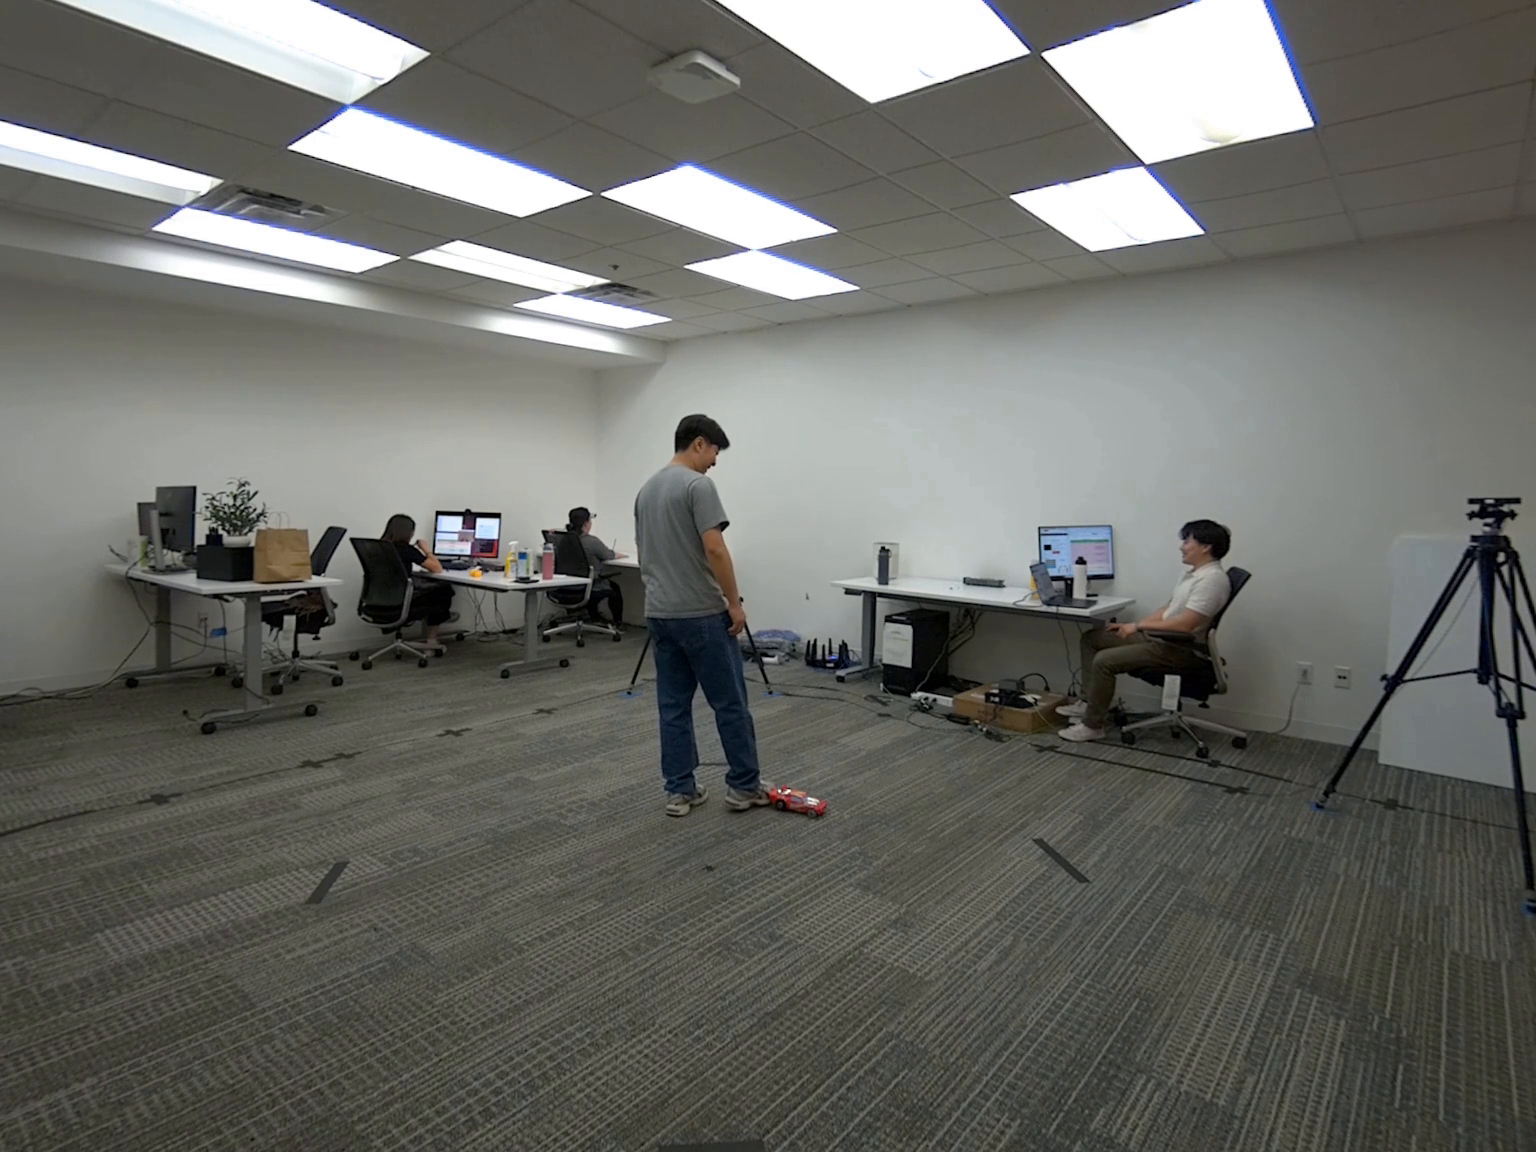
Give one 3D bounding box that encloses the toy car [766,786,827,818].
[{"bbox_3d":[0.115,0.979,3.699,0.262,0.082,0.127,18,11,24],"label":"toy car"}]
